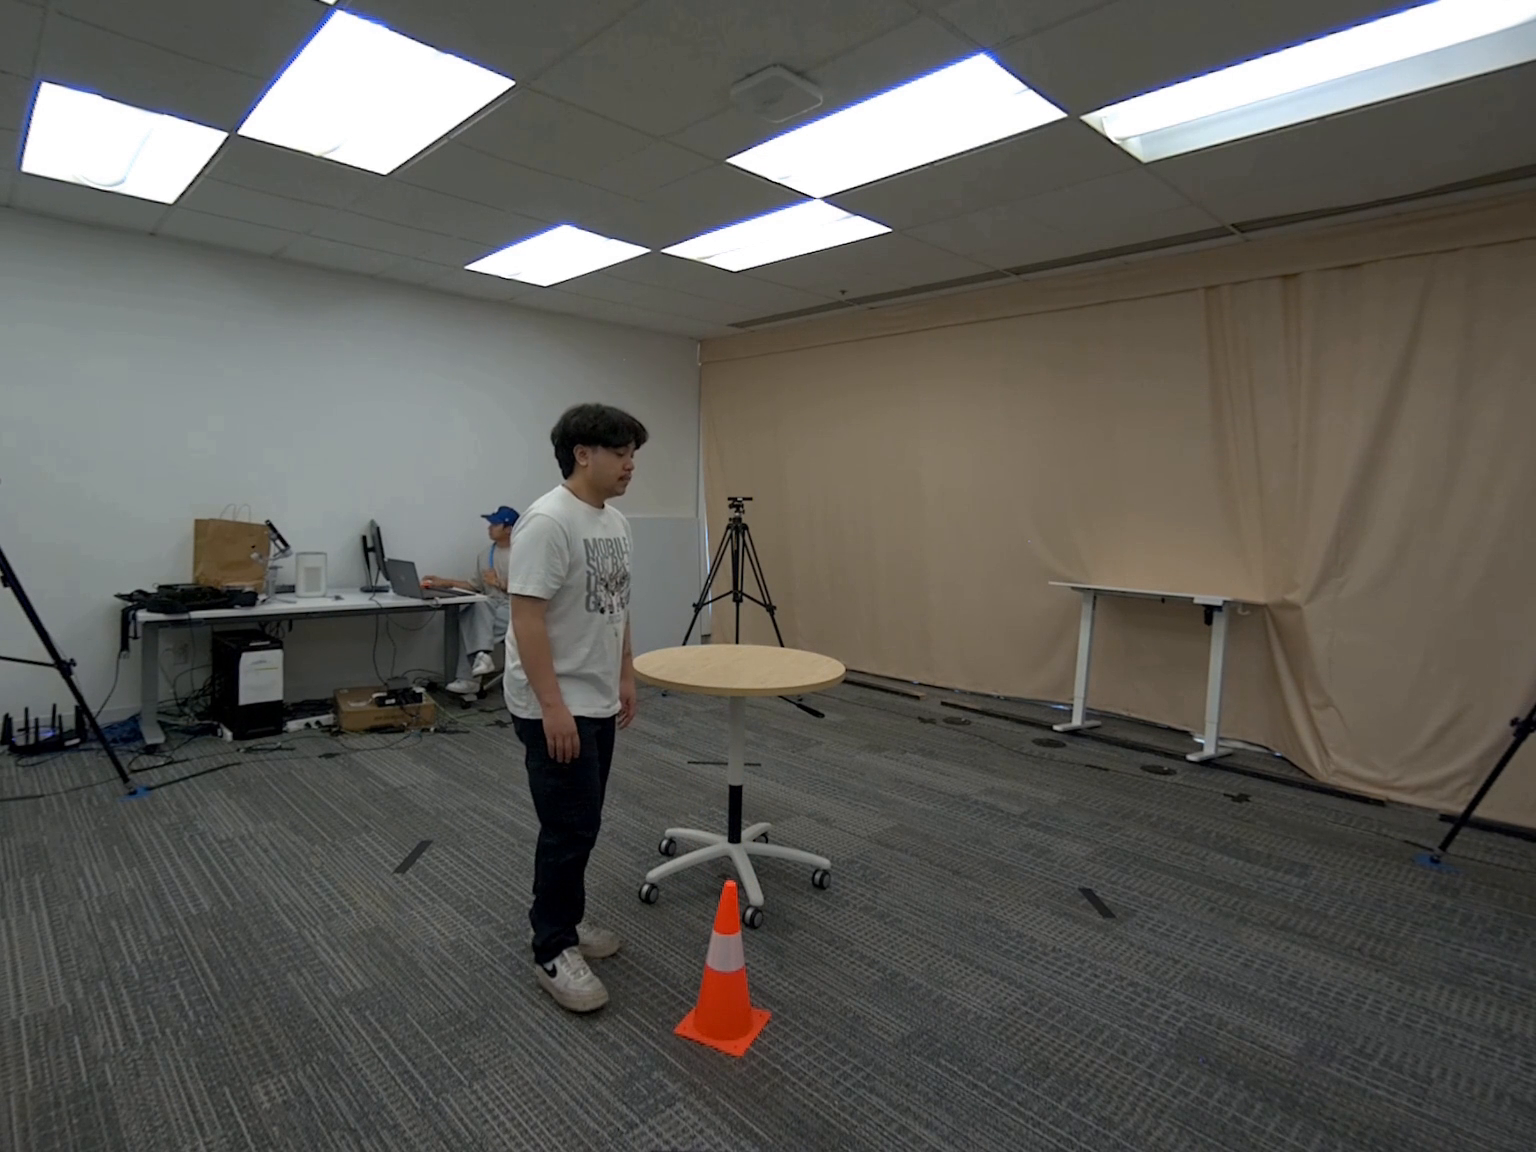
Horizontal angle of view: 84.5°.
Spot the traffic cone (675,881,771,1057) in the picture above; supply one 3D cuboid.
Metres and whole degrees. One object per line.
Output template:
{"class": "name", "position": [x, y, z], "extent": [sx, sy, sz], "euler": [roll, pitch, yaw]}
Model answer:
{"class": "traffic cone", "position": [-0.117, 1.007, 2.210], "extent": [0.210, 0.383, 0.199], "euler": [5, 4, 33]}
